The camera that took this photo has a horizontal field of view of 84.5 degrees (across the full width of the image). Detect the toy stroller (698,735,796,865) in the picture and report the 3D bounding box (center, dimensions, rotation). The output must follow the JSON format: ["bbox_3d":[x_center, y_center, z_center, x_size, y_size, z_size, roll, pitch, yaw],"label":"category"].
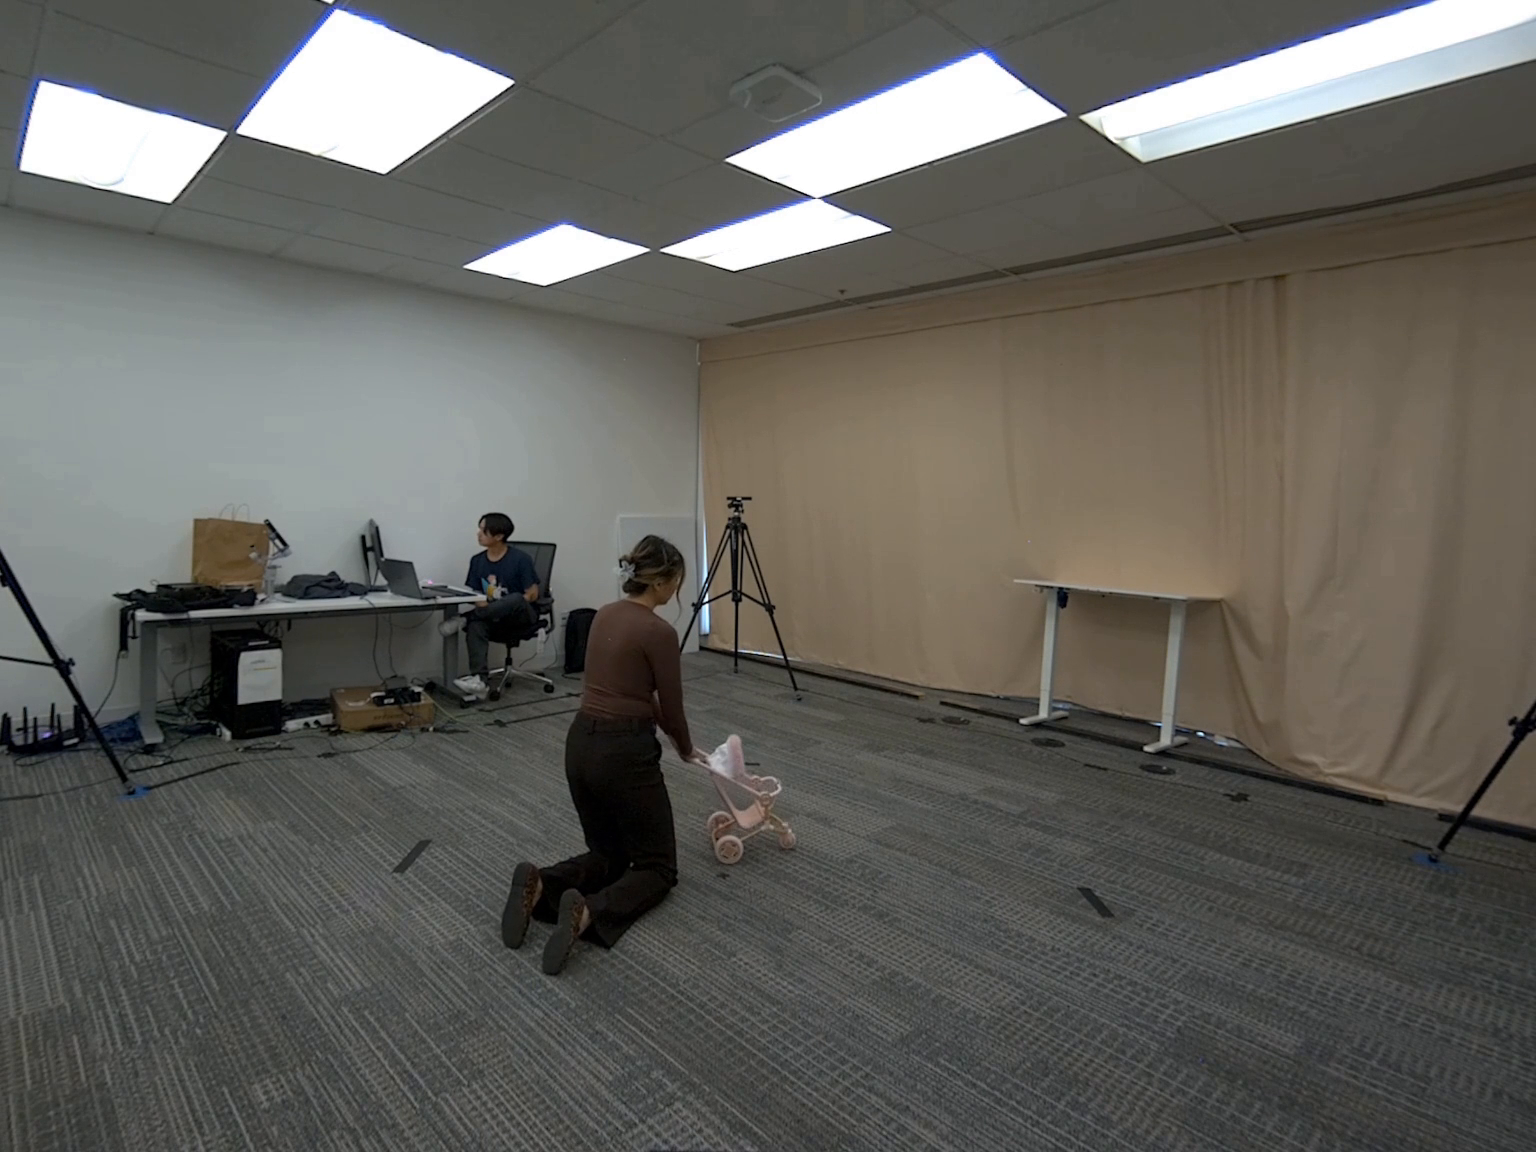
[{"bbox_3d":[-0.116,0.862,3.321,0.340,0.533,0.283,-16,5,-4],"label":"toy stroller"}]
